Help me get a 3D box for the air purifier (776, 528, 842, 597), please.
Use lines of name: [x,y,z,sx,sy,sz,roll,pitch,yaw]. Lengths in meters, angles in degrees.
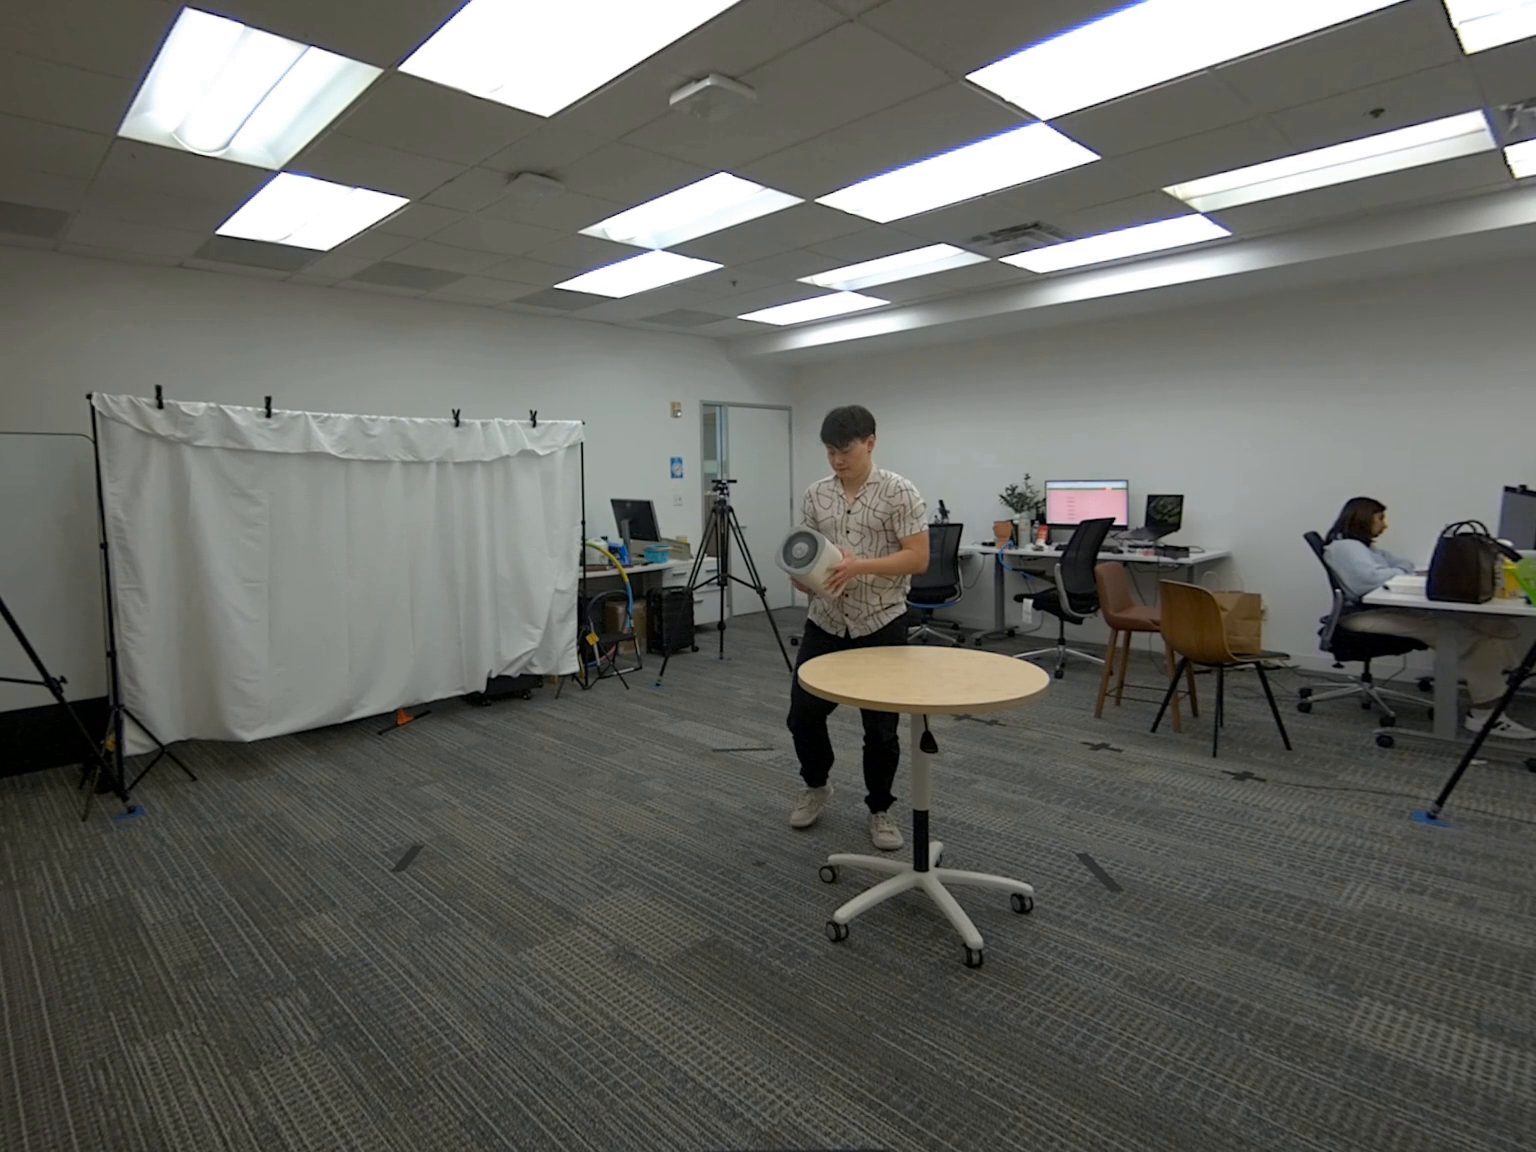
air purifier: [0.165,-0.050,3.082,0.177,0.172,0.255,23,-8,34]
